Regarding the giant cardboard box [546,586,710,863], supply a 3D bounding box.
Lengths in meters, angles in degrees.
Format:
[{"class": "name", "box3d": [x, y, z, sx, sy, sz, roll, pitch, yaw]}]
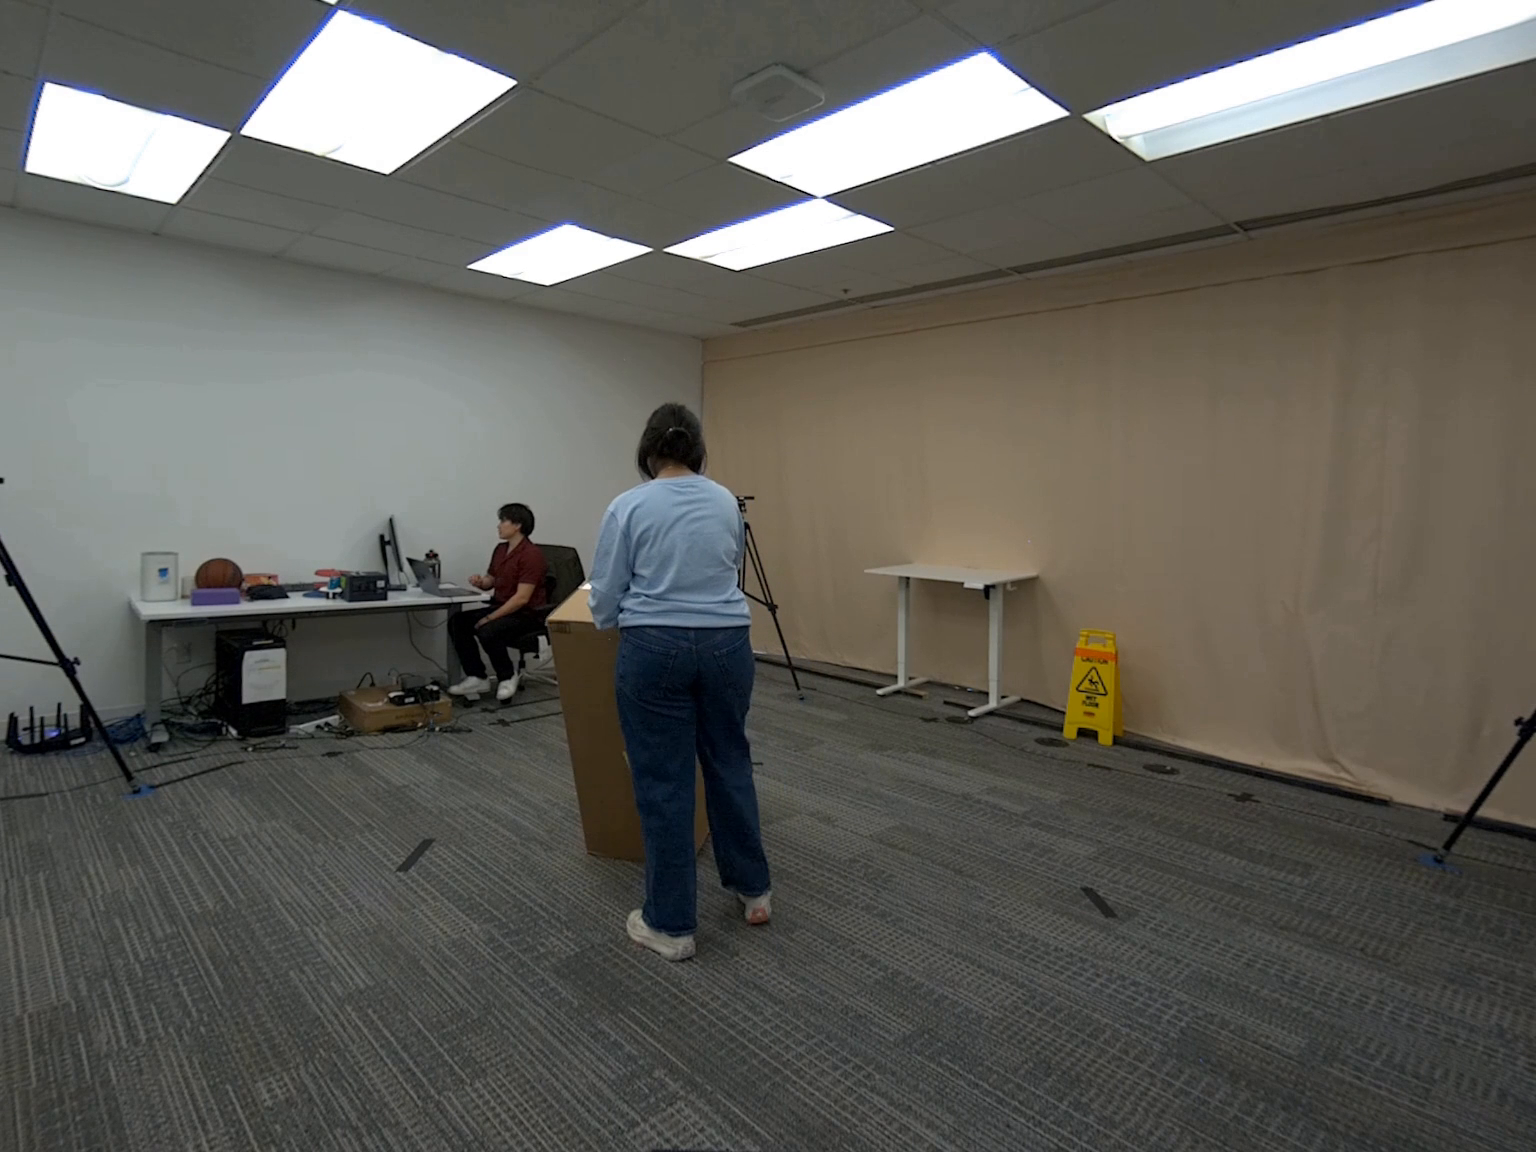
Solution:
[{"class": "giant cardboard box", "box3d": [-0.461, 0.511, 3.264, 0.453, 1.010, 0.586, 2, 23, 15]}]
